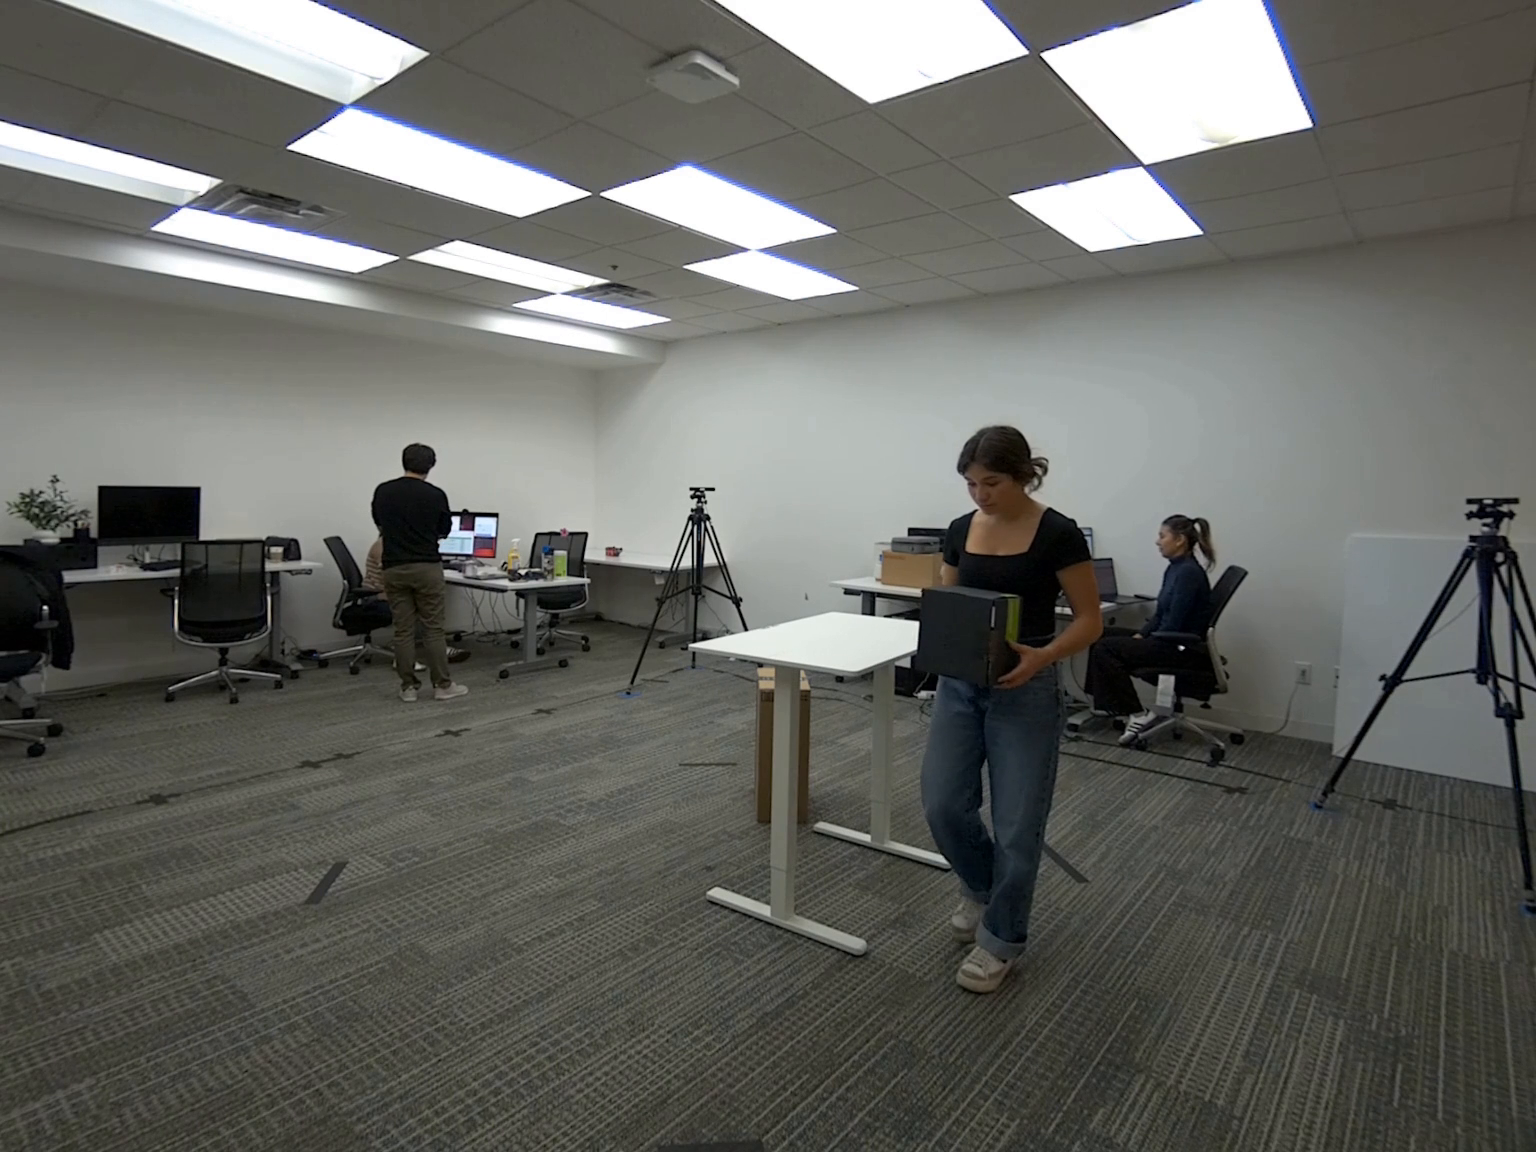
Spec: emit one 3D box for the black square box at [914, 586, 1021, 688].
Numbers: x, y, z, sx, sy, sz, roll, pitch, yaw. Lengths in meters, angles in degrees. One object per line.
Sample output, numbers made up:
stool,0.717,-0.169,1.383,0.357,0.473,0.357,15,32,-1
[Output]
black square box,0.536,0.150,2.271,0.225,0.227,0.151,8,7,42
